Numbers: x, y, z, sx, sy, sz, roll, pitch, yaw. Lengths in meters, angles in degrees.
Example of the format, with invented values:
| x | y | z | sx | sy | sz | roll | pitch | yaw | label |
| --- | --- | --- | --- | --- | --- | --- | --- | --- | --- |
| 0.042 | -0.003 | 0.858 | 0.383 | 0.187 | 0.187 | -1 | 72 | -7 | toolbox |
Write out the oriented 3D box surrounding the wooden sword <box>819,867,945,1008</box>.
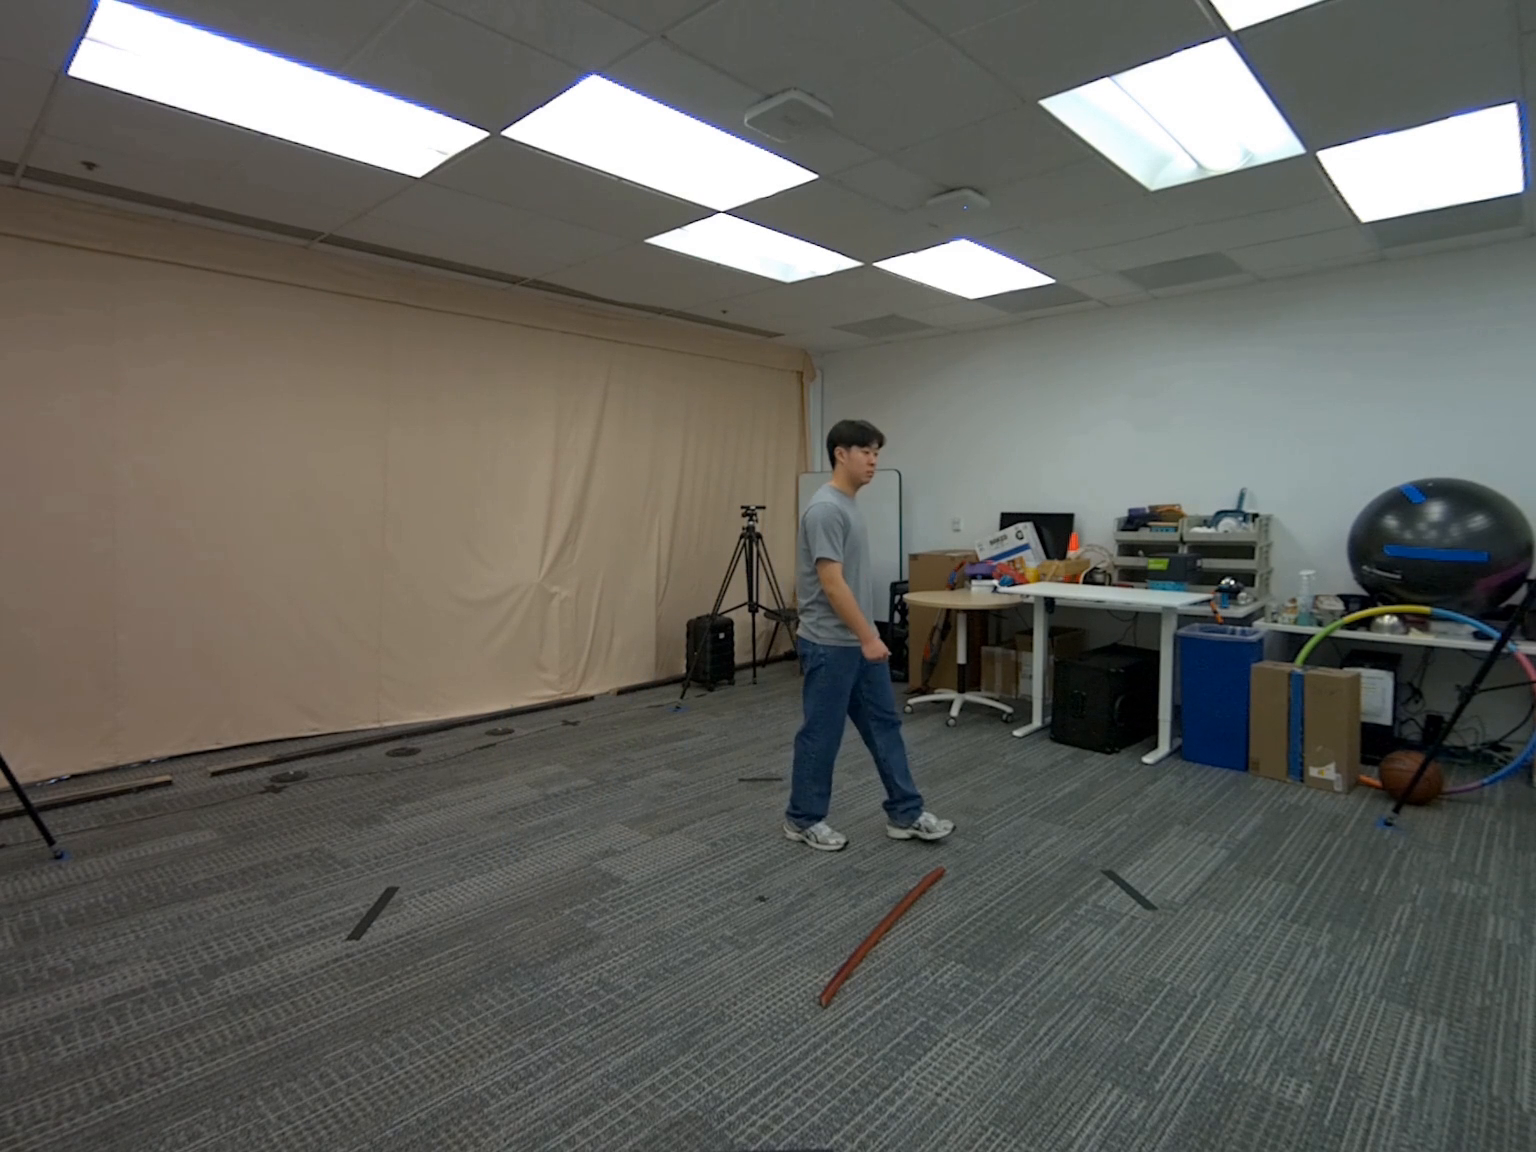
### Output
| x | y | z | sx | sy | sz | roll | pitch | yaw | label |
| --- | --- | --- | --- | --- | --- | --- | --- | --- | --- |
| 0.387 | 1.136 | 2.759 | 0.052 | 0.024 | 0.997 | -20 | -6 | 31 | wooden sword |
